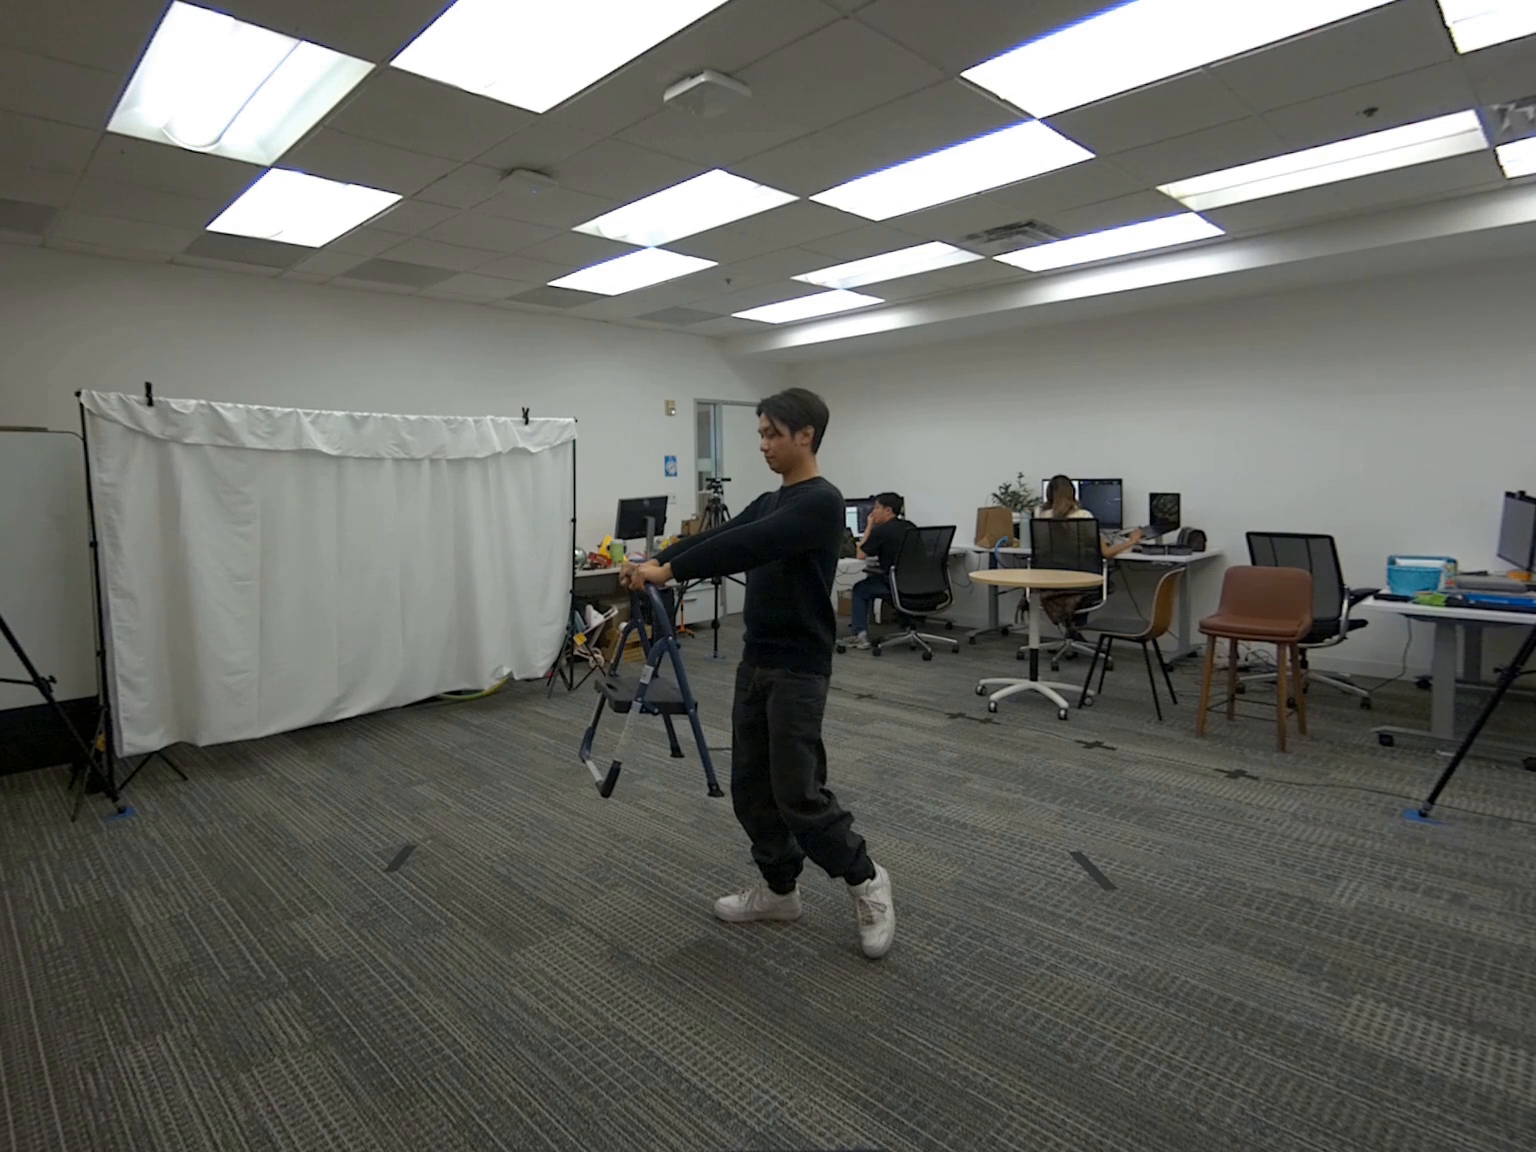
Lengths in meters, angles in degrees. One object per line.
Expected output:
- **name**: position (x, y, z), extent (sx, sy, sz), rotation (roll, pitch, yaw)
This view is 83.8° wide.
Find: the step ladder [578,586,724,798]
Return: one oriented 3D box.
- **step ladder**: position (-0.329, 0.297, 2.547), extent (0.342, 0.605, 0.440), rotation (4, 2, -21)
